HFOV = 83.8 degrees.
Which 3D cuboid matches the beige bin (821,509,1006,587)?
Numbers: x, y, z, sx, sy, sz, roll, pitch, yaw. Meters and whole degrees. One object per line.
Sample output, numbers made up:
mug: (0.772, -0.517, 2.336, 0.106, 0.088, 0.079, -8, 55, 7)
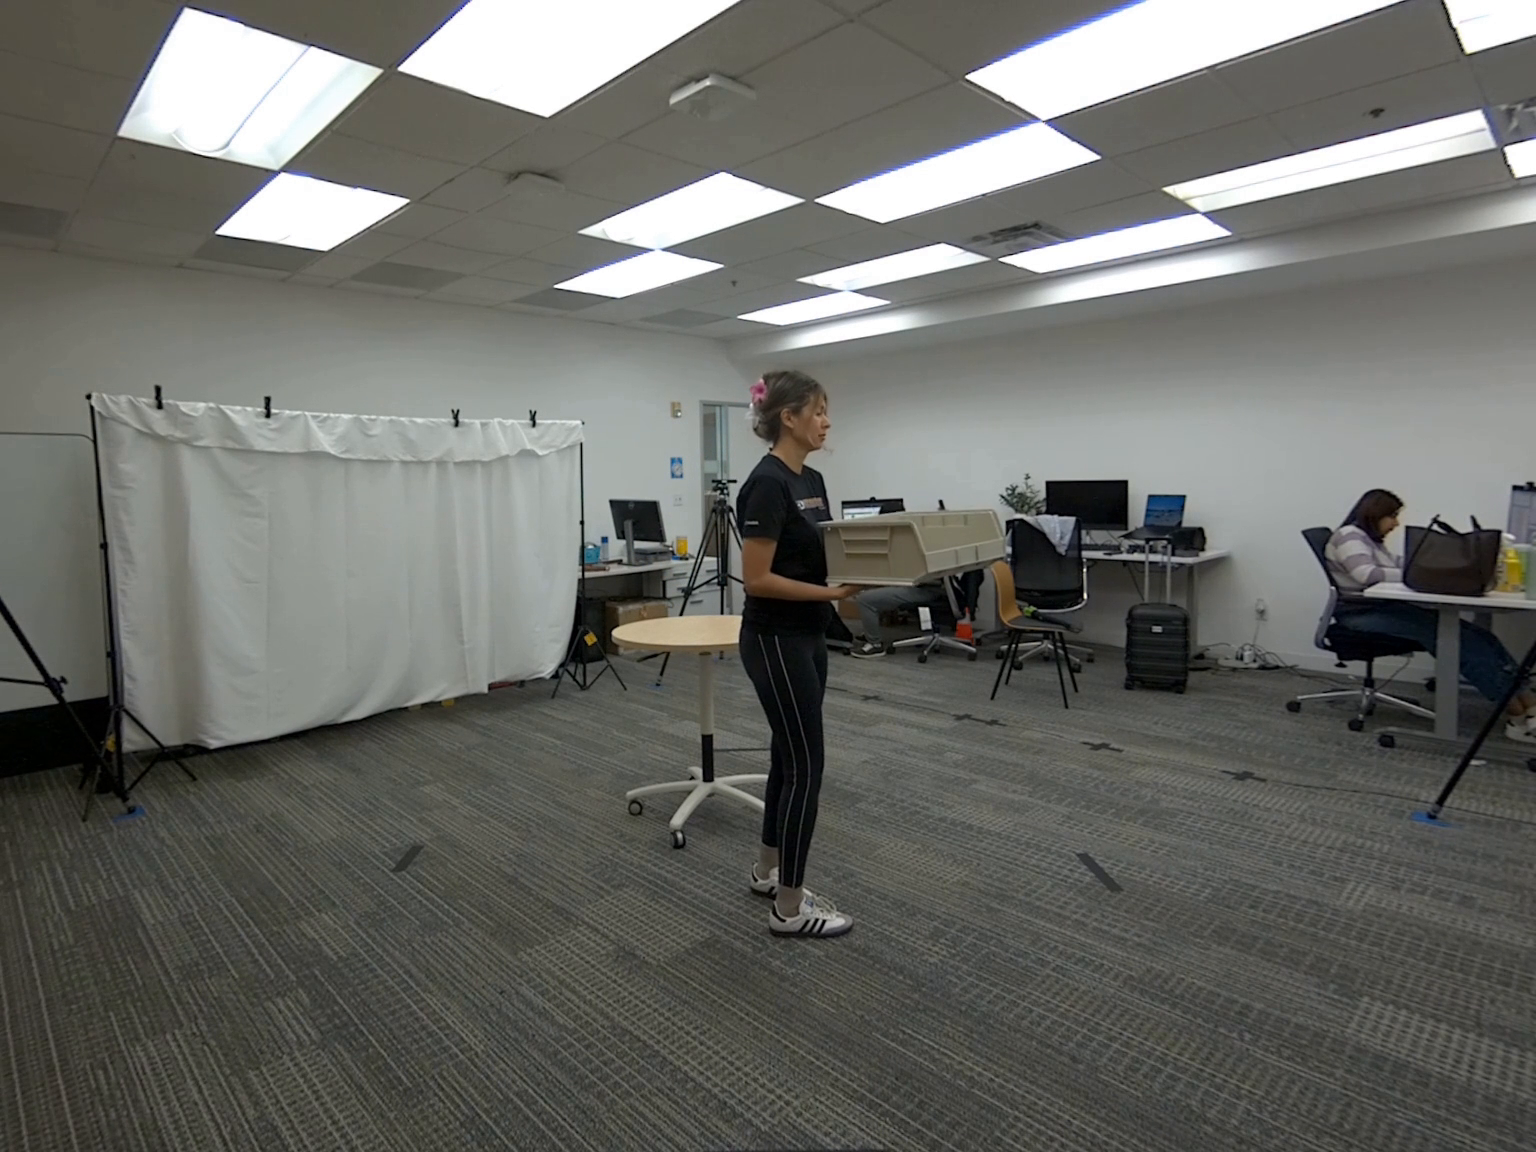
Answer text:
beige bin: (0.428, -0.089, 2.552, 0.412, 0.188, 0.388, -10, 7, -41)
